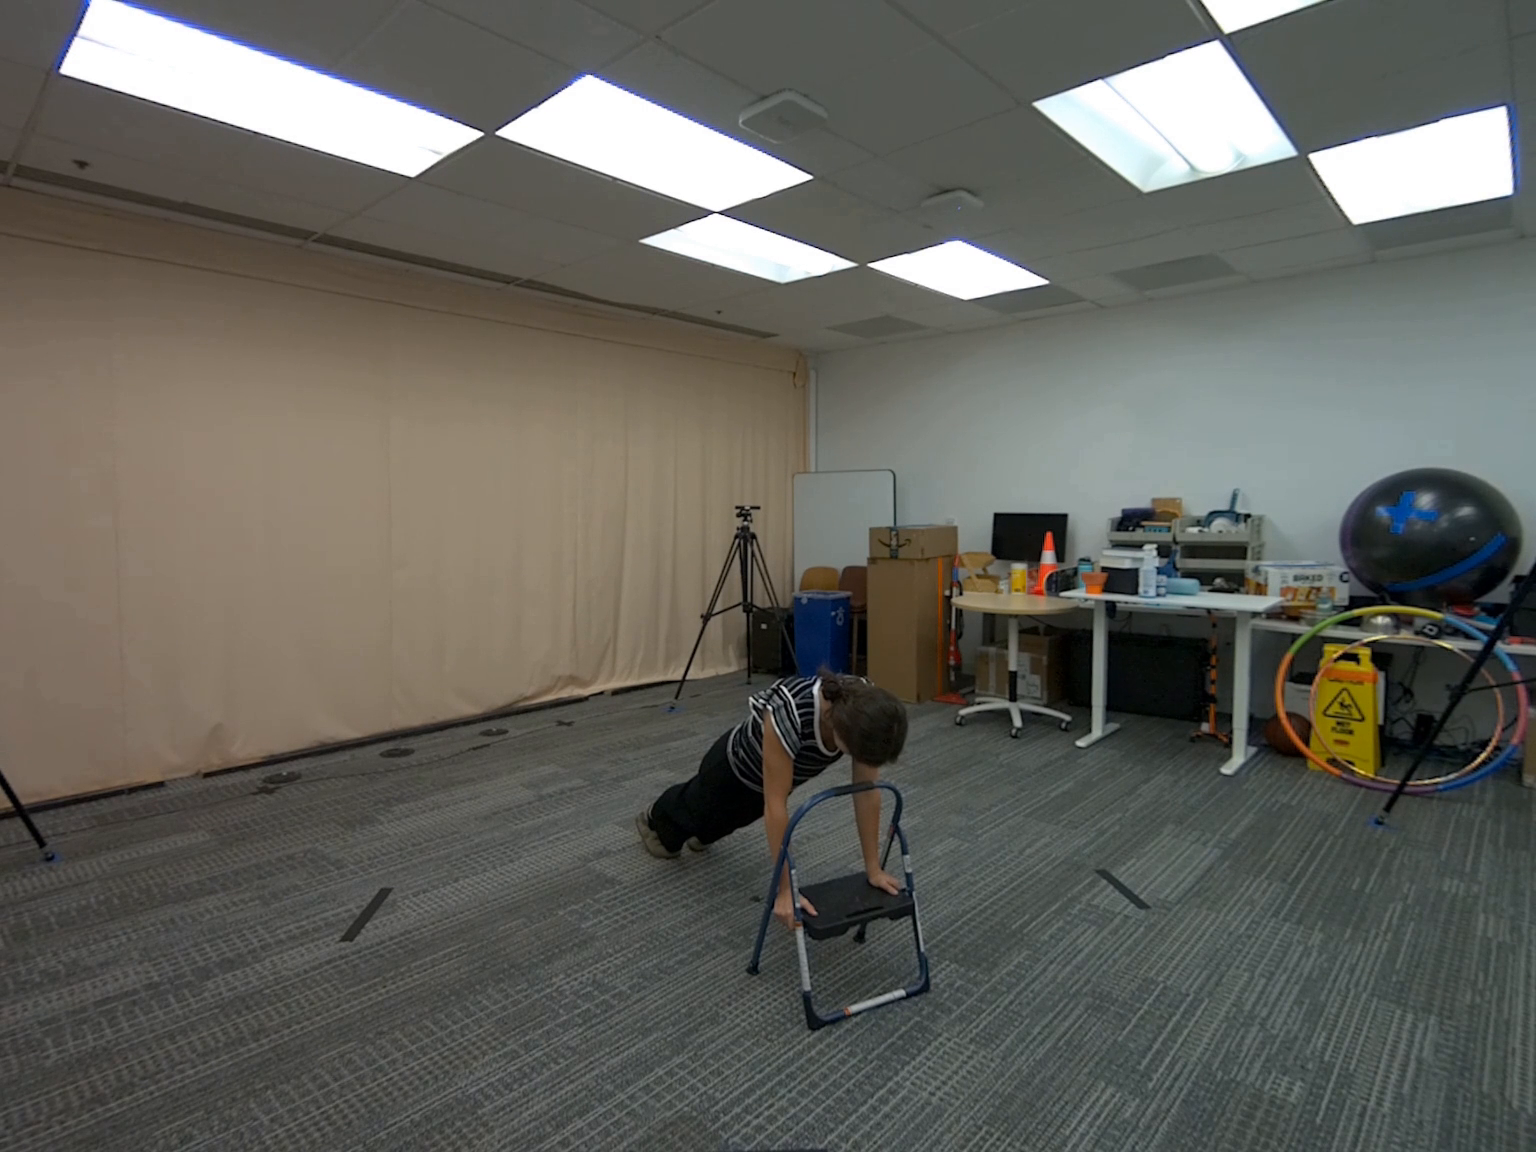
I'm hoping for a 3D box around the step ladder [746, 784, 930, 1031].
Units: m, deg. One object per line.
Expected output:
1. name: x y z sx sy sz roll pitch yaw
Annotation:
1. step ladder: 0.212 0.887 2.454 0.419 0.604 0.359 -2 5 -30
